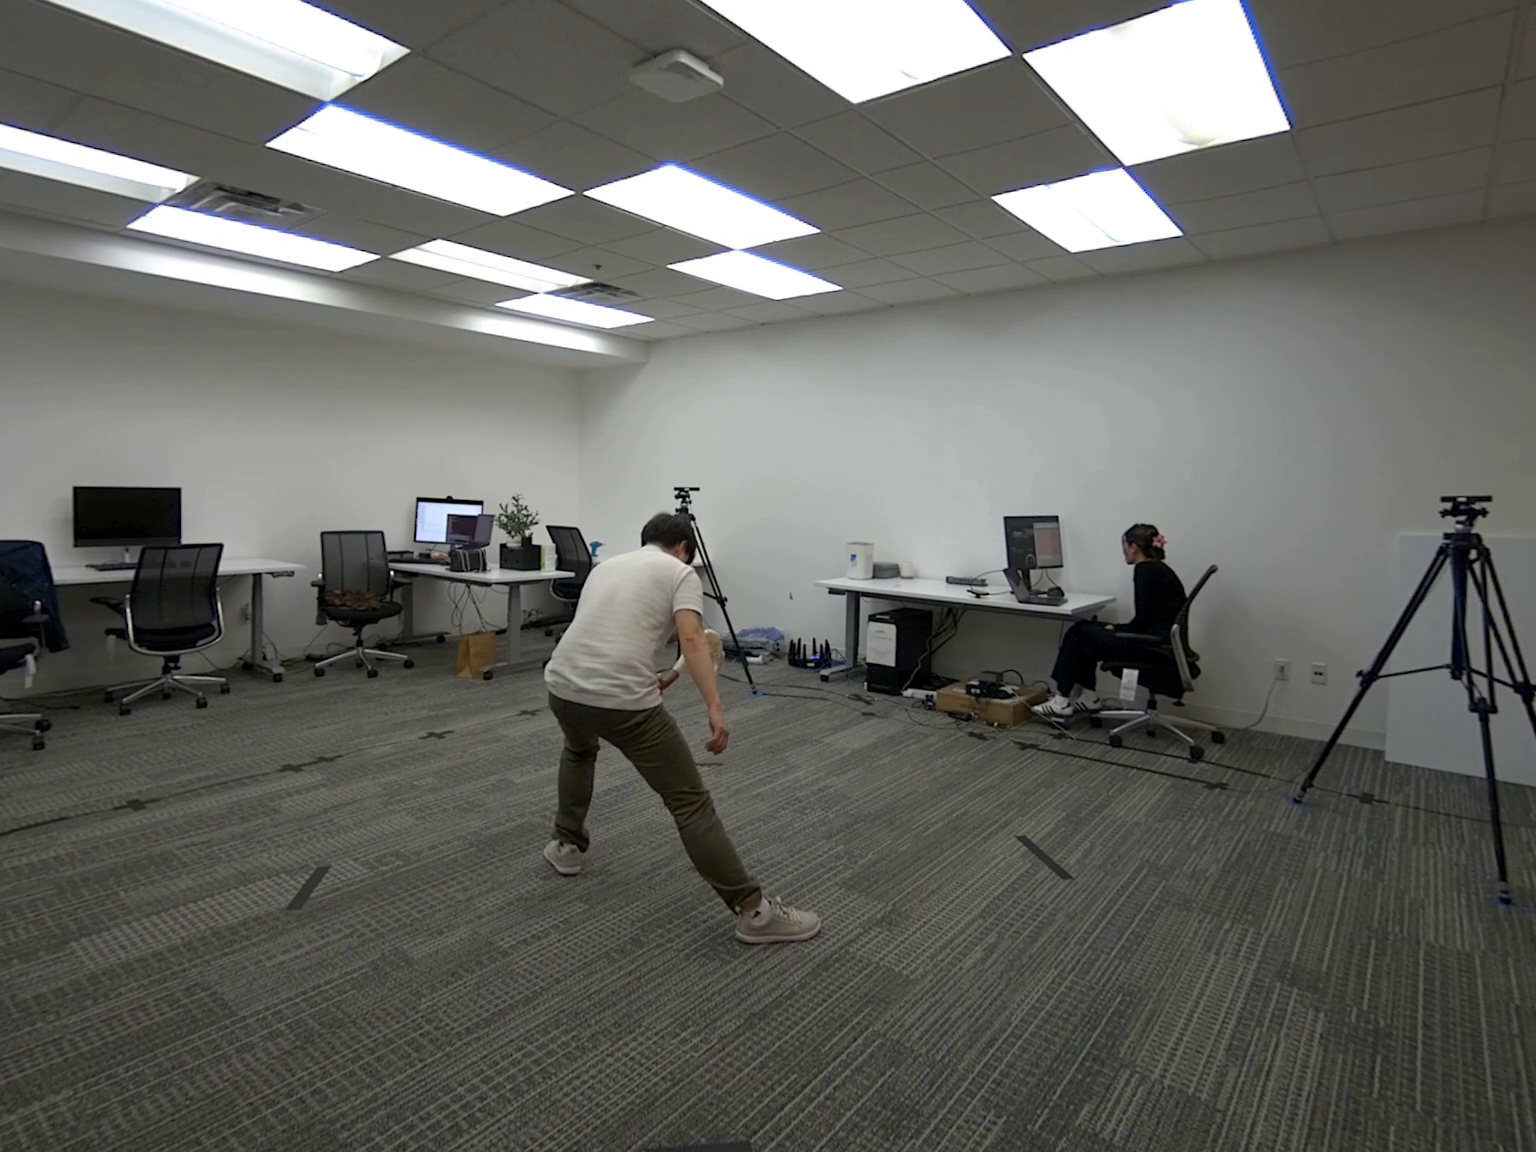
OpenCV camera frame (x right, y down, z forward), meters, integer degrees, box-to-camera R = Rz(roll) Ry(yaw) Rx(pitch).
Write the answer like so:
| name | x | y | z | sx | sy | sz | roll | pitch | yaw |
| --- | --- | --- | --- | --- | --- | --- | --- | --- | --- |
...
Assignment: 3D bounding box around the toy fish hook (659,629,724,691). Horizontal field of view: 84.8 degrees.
| name | x | y | z | sx | sy | sz | roll | pitch | yaw |
| --- | --- | --- | --- | --- | --- | --- | --- | --- | --- |
| toy fish hook | -0.332 | 0.403 | 3.401 | 0.049 | 0.220 | 0.503 | -7 | 23 | 40 |
